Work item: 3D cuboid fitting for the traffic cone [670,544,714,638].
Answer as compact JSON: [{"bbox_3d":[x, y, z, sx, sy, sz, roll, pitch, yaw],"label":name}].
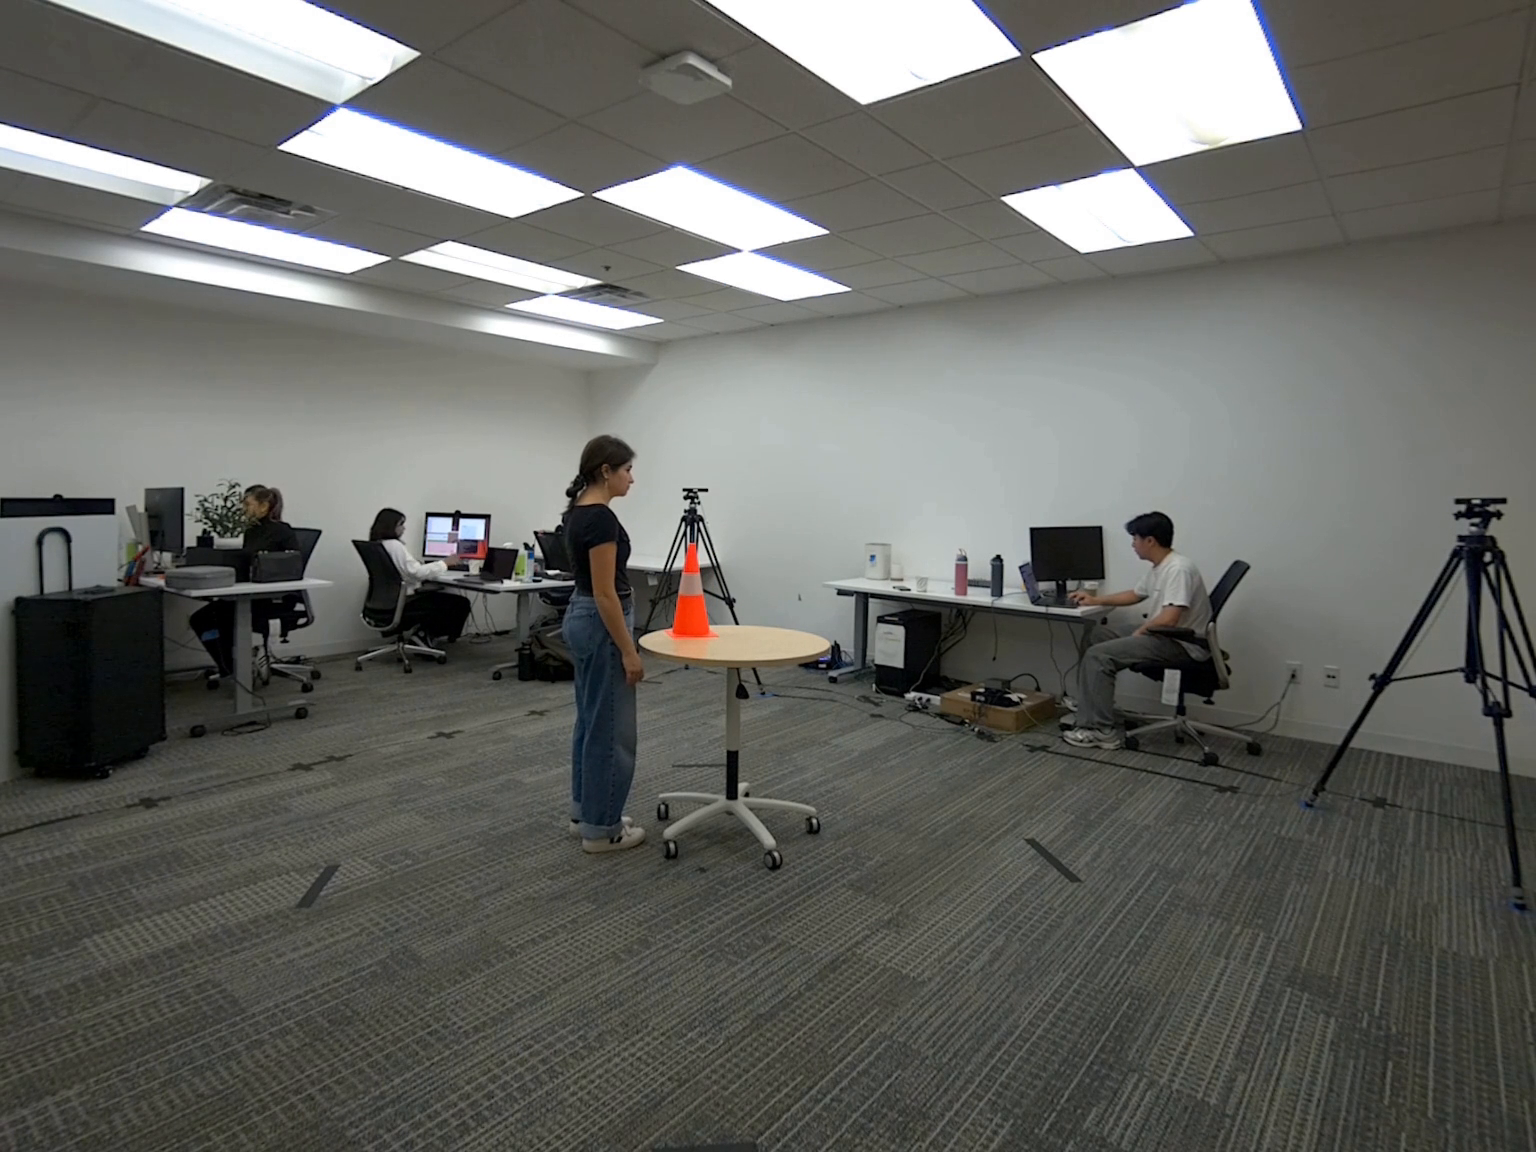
[{"bbox_3d":[-0.334,0.050,3.566,0.201,0.383,0.208,-1,2,-11],"label":"traffic cone"}]
